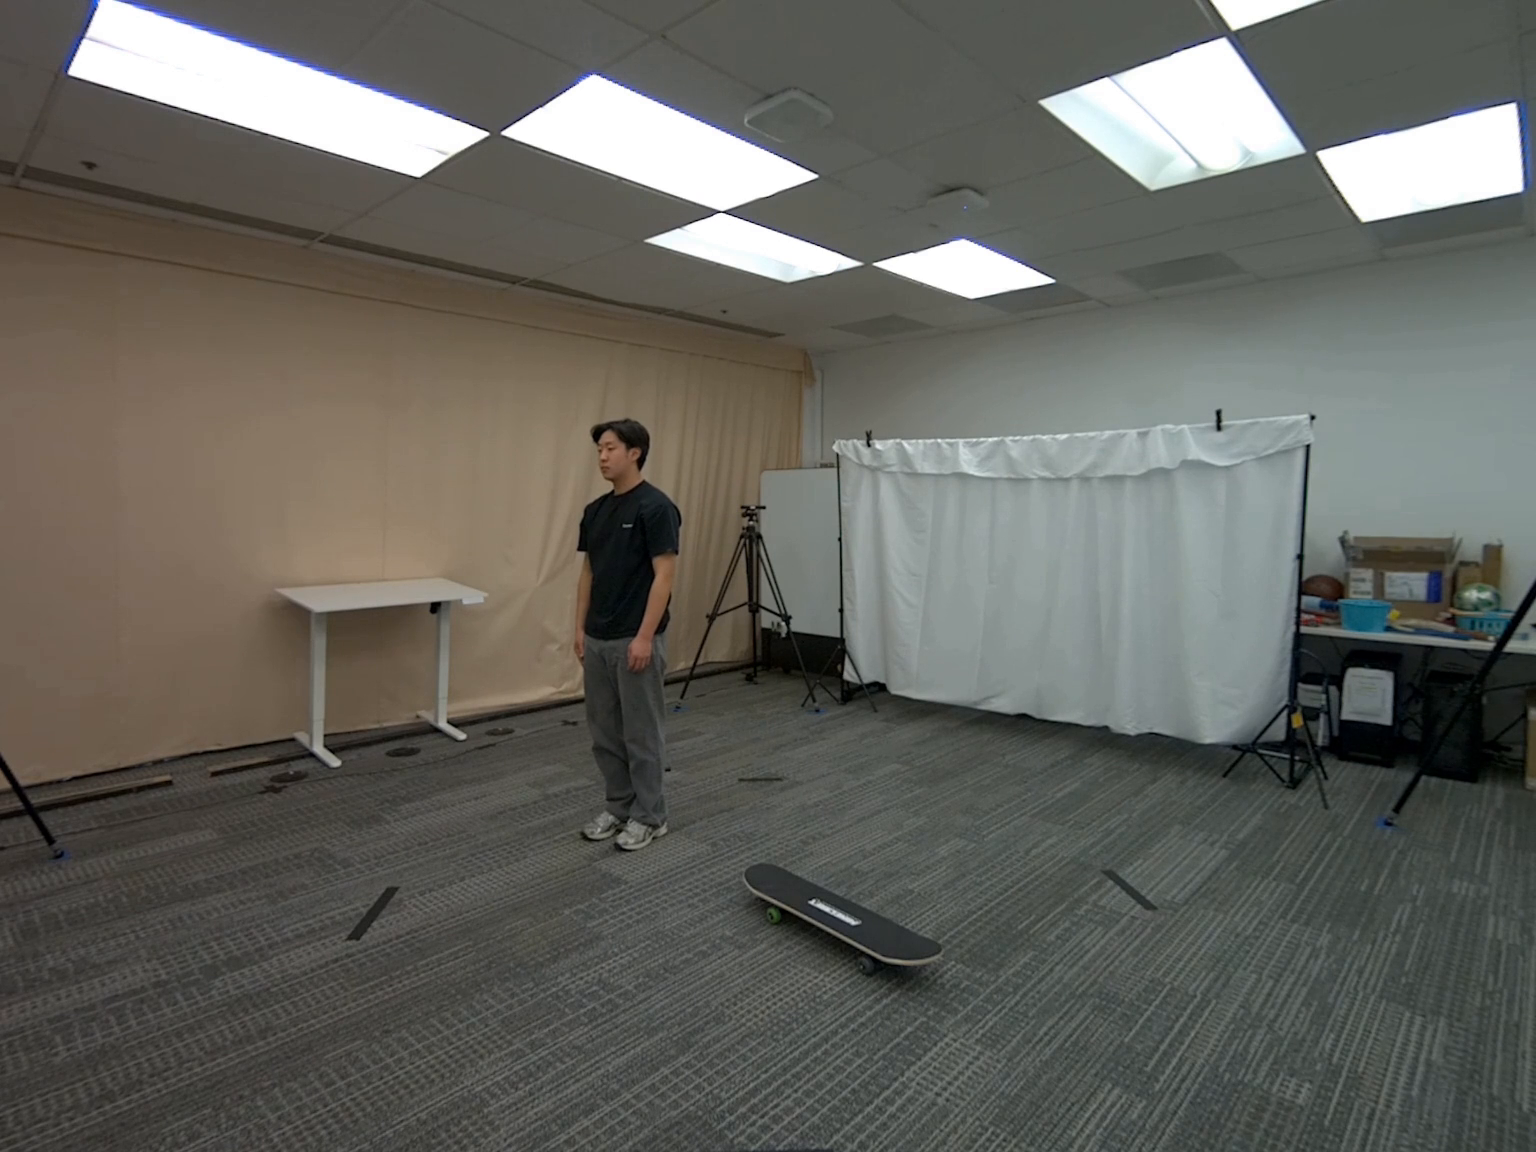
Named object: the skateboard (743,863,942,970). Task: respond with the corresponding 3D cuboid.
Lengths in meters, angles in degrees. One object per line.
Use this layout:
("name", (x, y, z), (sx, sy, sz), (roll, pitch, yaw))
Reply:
("skateboard", (0.218, 1.109, 2.704), (0.187, 0.110, 0.812), (-3, 6, -41))
